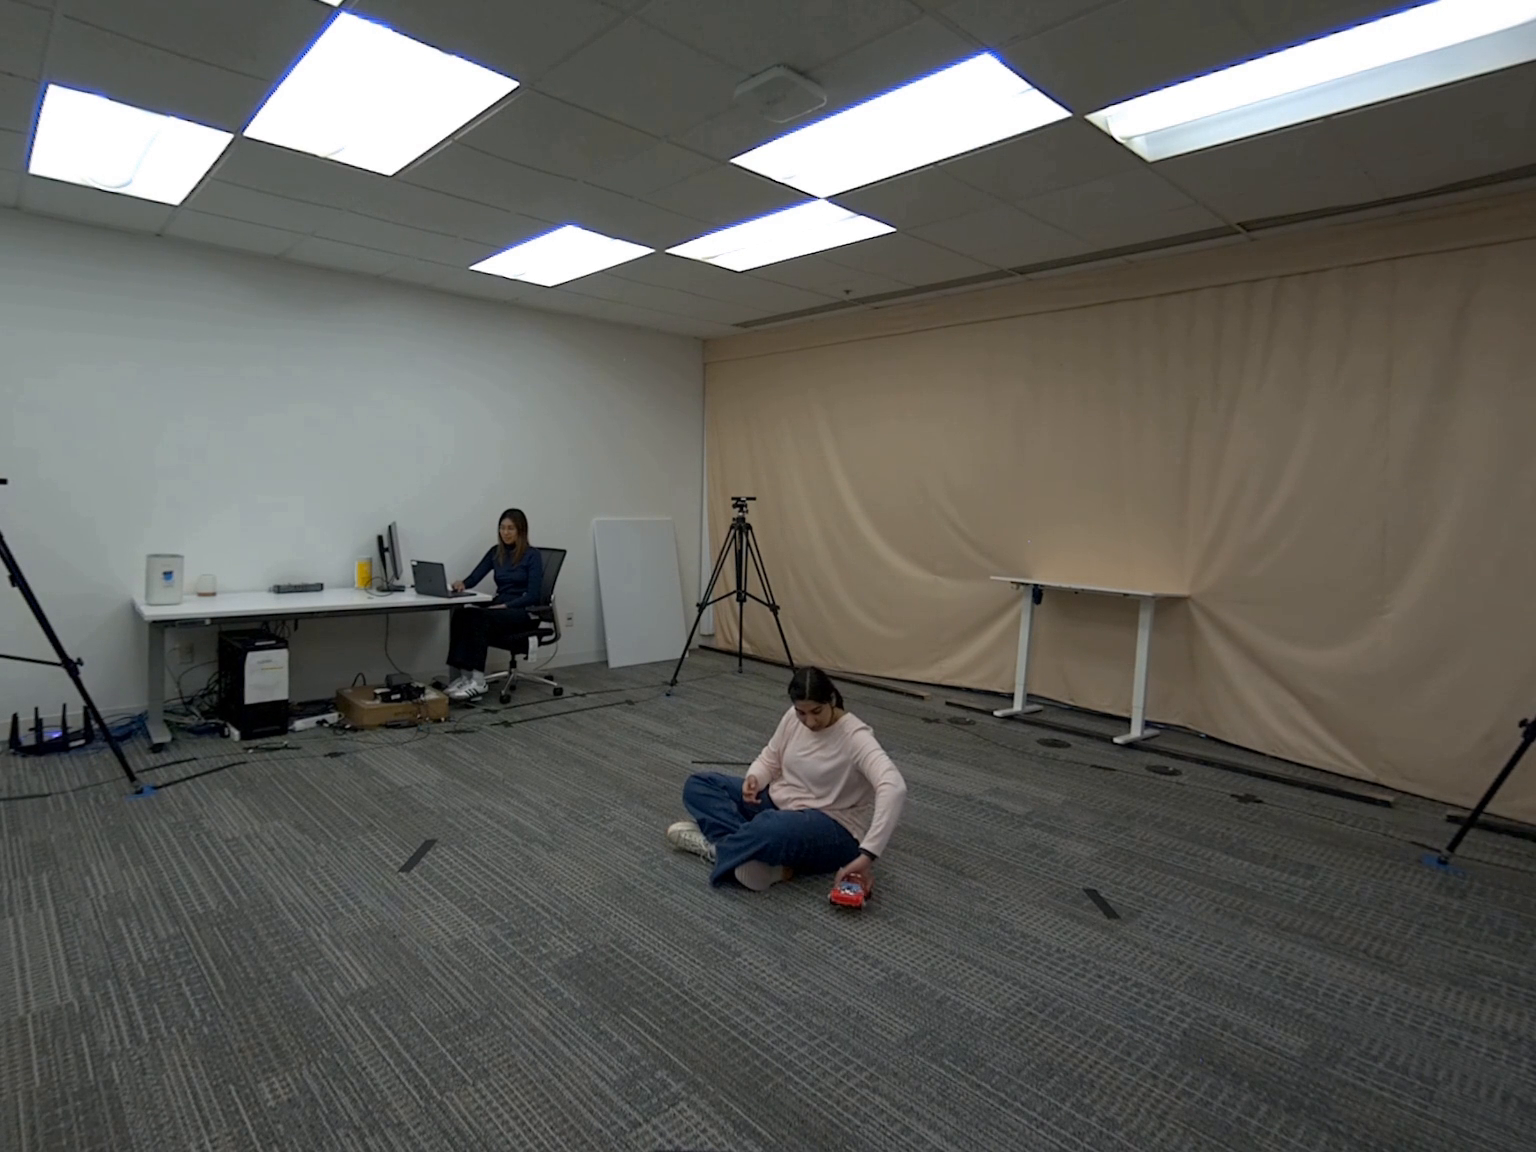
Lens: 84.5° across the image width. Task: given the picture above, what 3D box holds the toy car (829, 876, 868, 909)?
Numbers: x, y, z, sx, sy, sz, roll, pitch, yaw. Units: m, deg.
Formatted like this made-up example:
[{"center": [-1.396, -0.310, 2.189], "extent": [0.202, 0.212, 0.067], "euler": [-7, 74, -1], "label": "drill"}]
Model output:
[{"center": [0.291, 1.094, 2.909], "extent": [0.132, 0.083, 0.252], "euler": [3, 8, 18], "label": "toy car"}]
